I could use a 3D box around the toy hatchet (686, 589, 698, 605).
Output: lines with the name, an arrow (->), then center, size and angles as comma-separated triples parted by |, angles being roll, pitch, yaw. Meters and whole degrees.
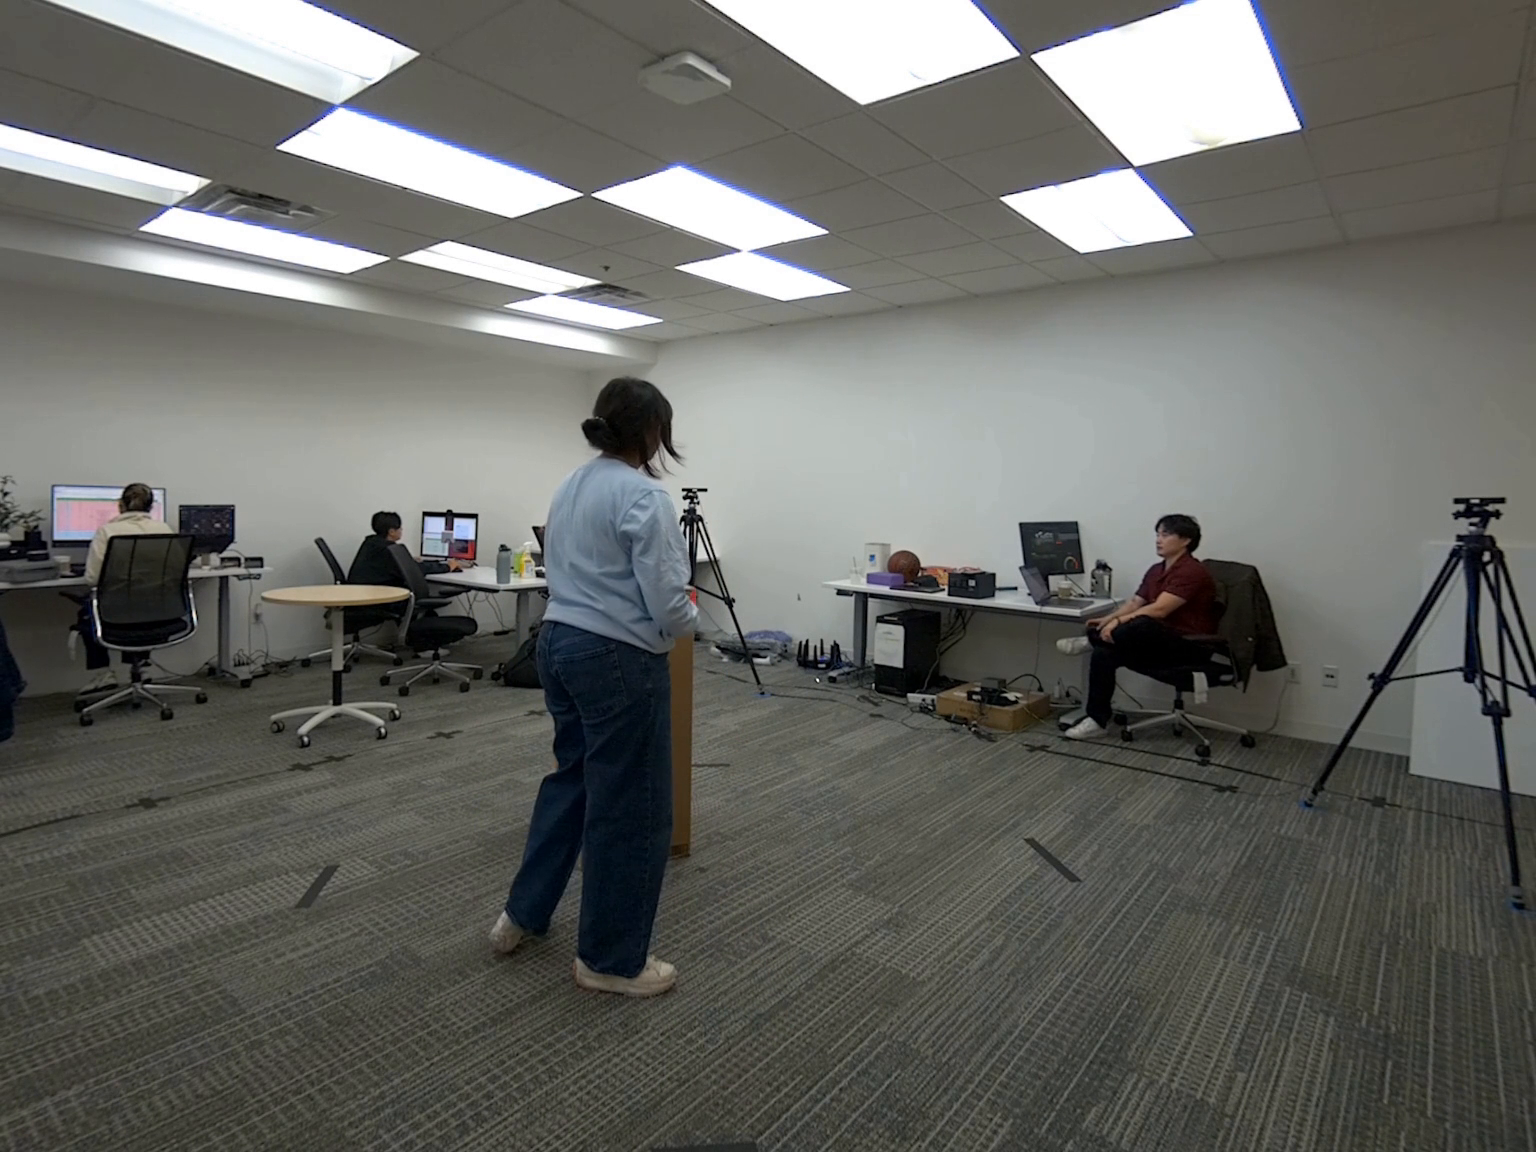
toy hatchet -> -0.262, 0.134, 2.614 | 0.030, 0.130, 0.271 | 17, 15, 2
